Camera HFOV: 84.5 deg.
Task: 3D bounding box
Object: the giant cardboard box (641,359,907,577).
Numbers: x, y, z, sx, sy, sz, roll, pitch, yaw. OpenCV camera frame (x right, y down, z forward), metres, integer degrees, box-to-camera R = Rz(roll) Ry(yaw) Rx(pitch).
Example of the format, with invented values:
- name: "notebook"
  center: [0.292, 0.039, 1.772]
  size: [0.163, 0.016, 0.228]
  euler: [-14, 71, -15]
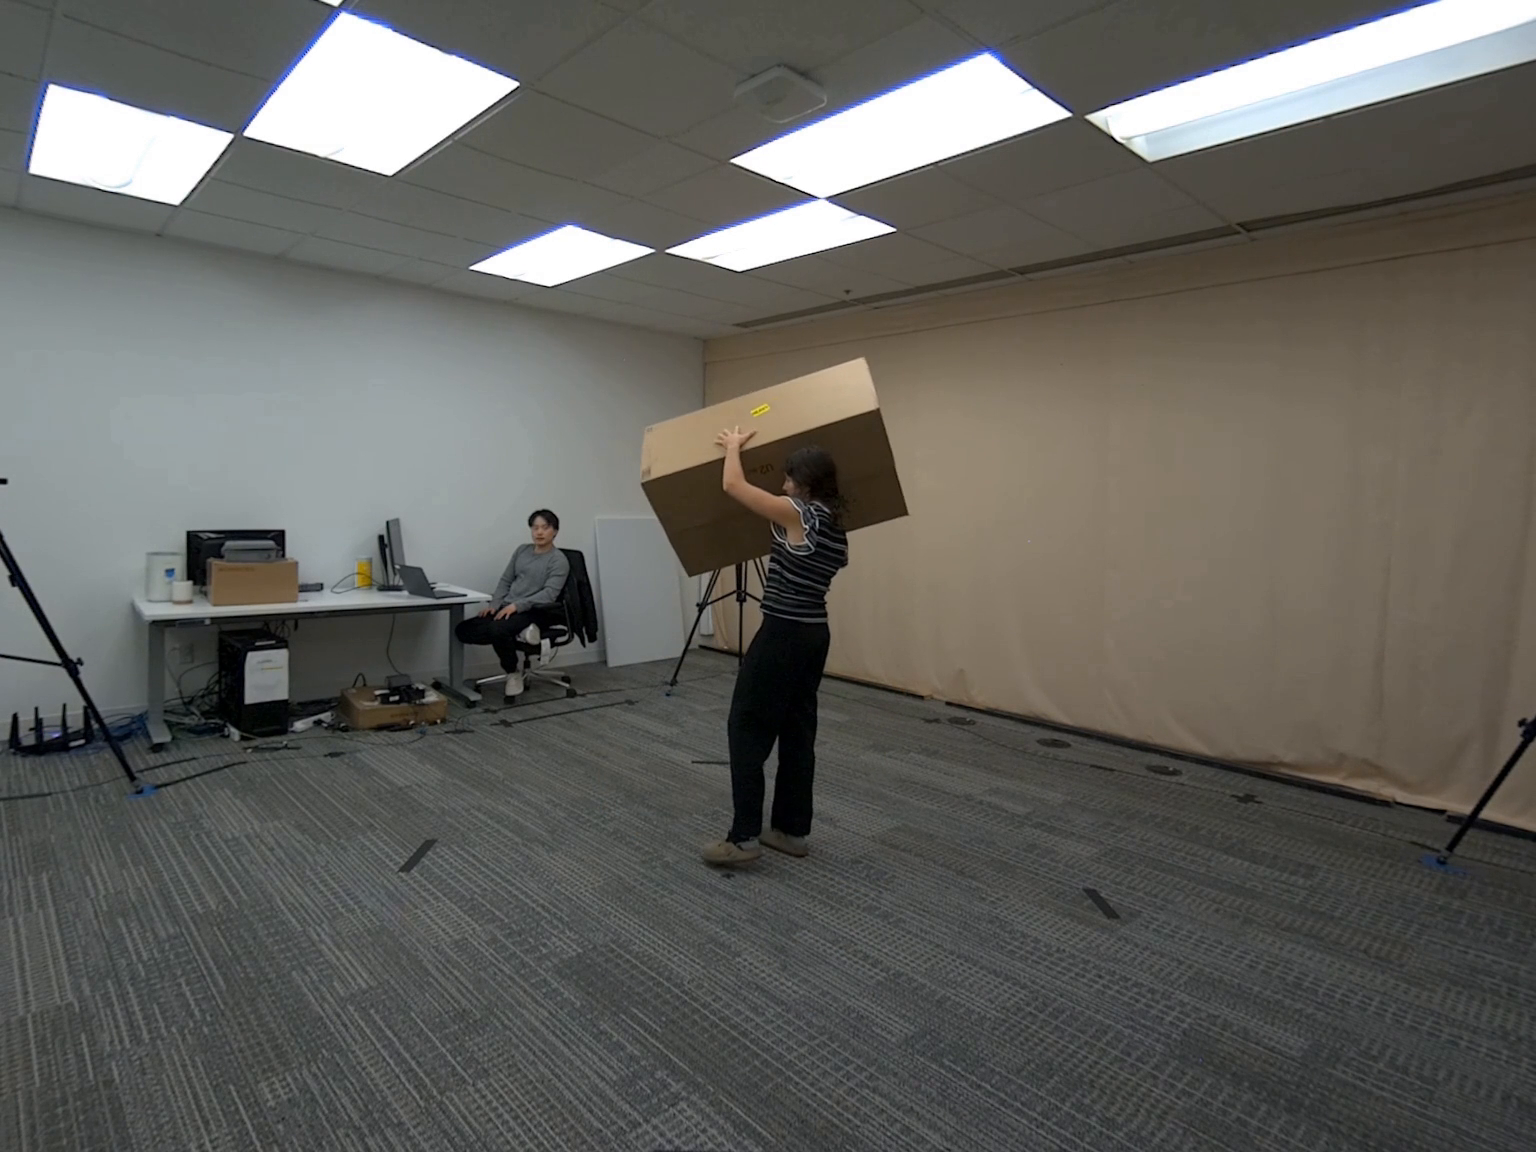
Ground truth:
- name: "giant cardboard box"
  center: [0.018, -0.453, 3.708]
  size: [1.032, 0.560, 0.436]
  euler: [-16, 40, 11]
